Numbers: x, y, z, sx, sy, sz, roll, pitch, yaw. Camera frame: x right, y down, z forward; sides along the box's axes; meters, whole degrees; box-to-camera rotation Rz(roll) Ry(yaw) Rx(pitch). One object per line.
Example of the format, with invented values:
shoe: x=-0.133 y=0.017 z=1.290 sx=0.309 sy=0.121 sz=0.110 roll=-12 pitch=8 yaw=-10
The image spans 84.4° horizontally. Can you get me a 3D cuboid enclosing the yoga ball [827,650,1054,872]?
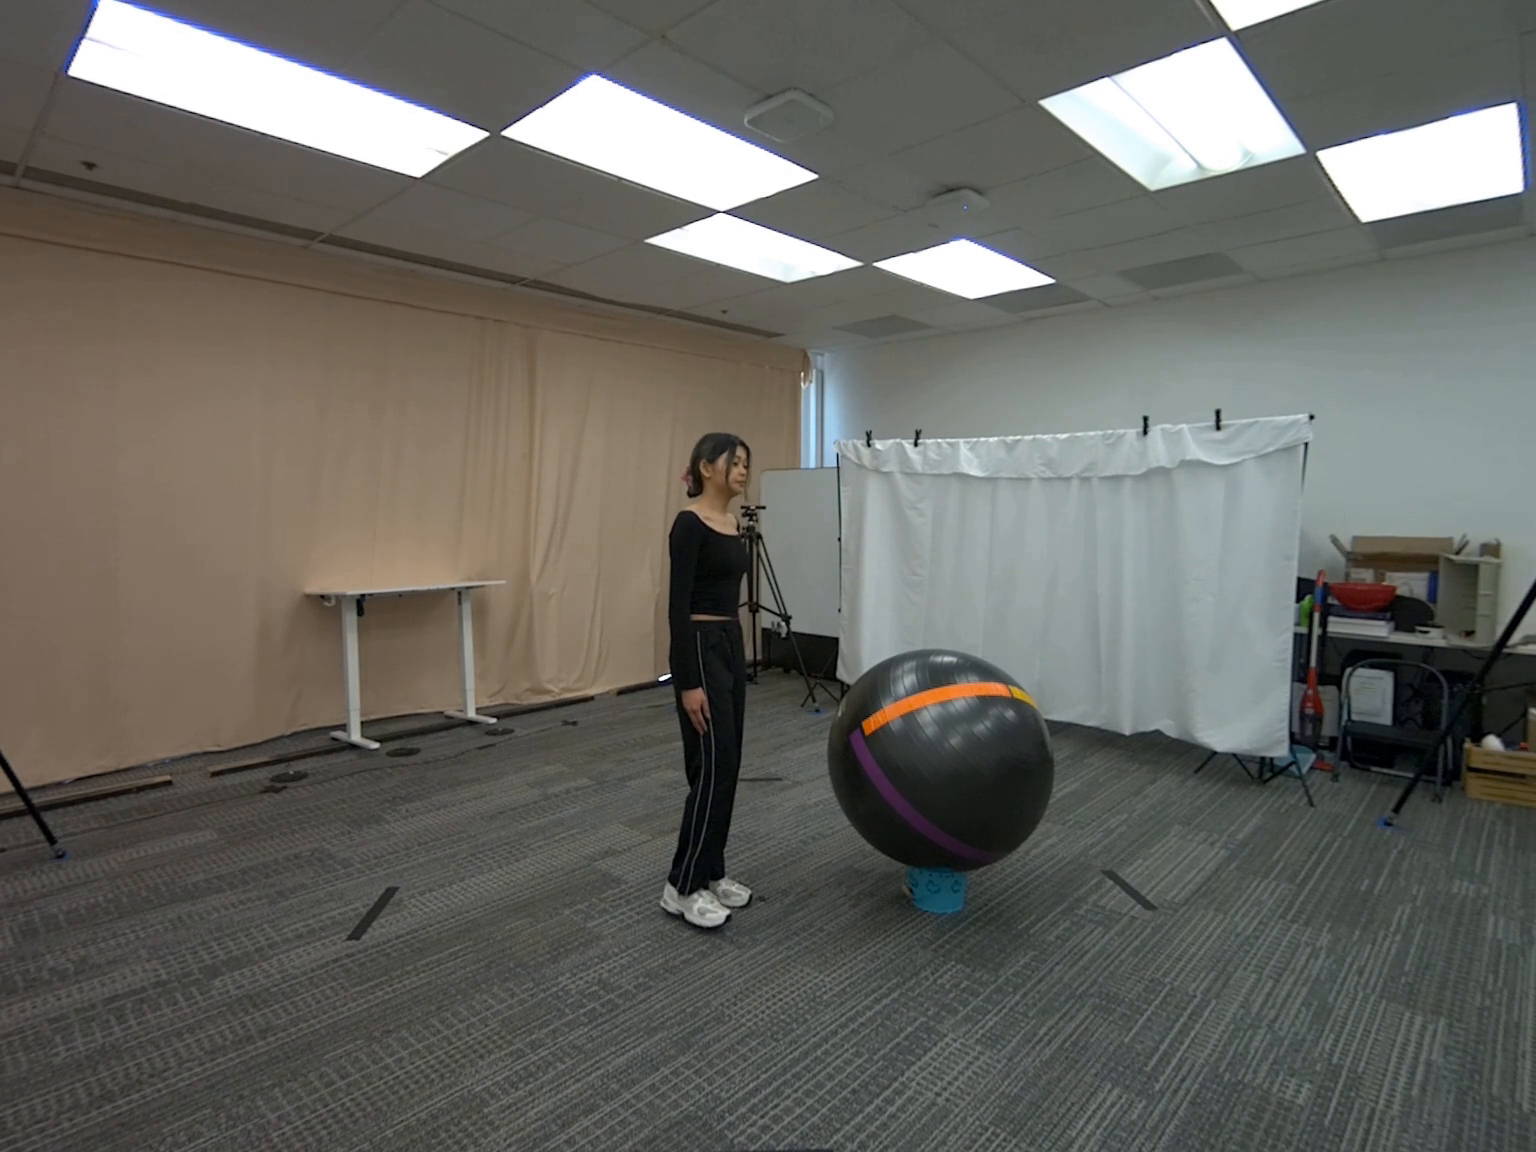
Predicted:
yoga ball: x=0.602 y=0.640 z=2.937 sx=0.757 sy=0.756 sz=0.760 roll=0 pitch=4 yaw=-2
